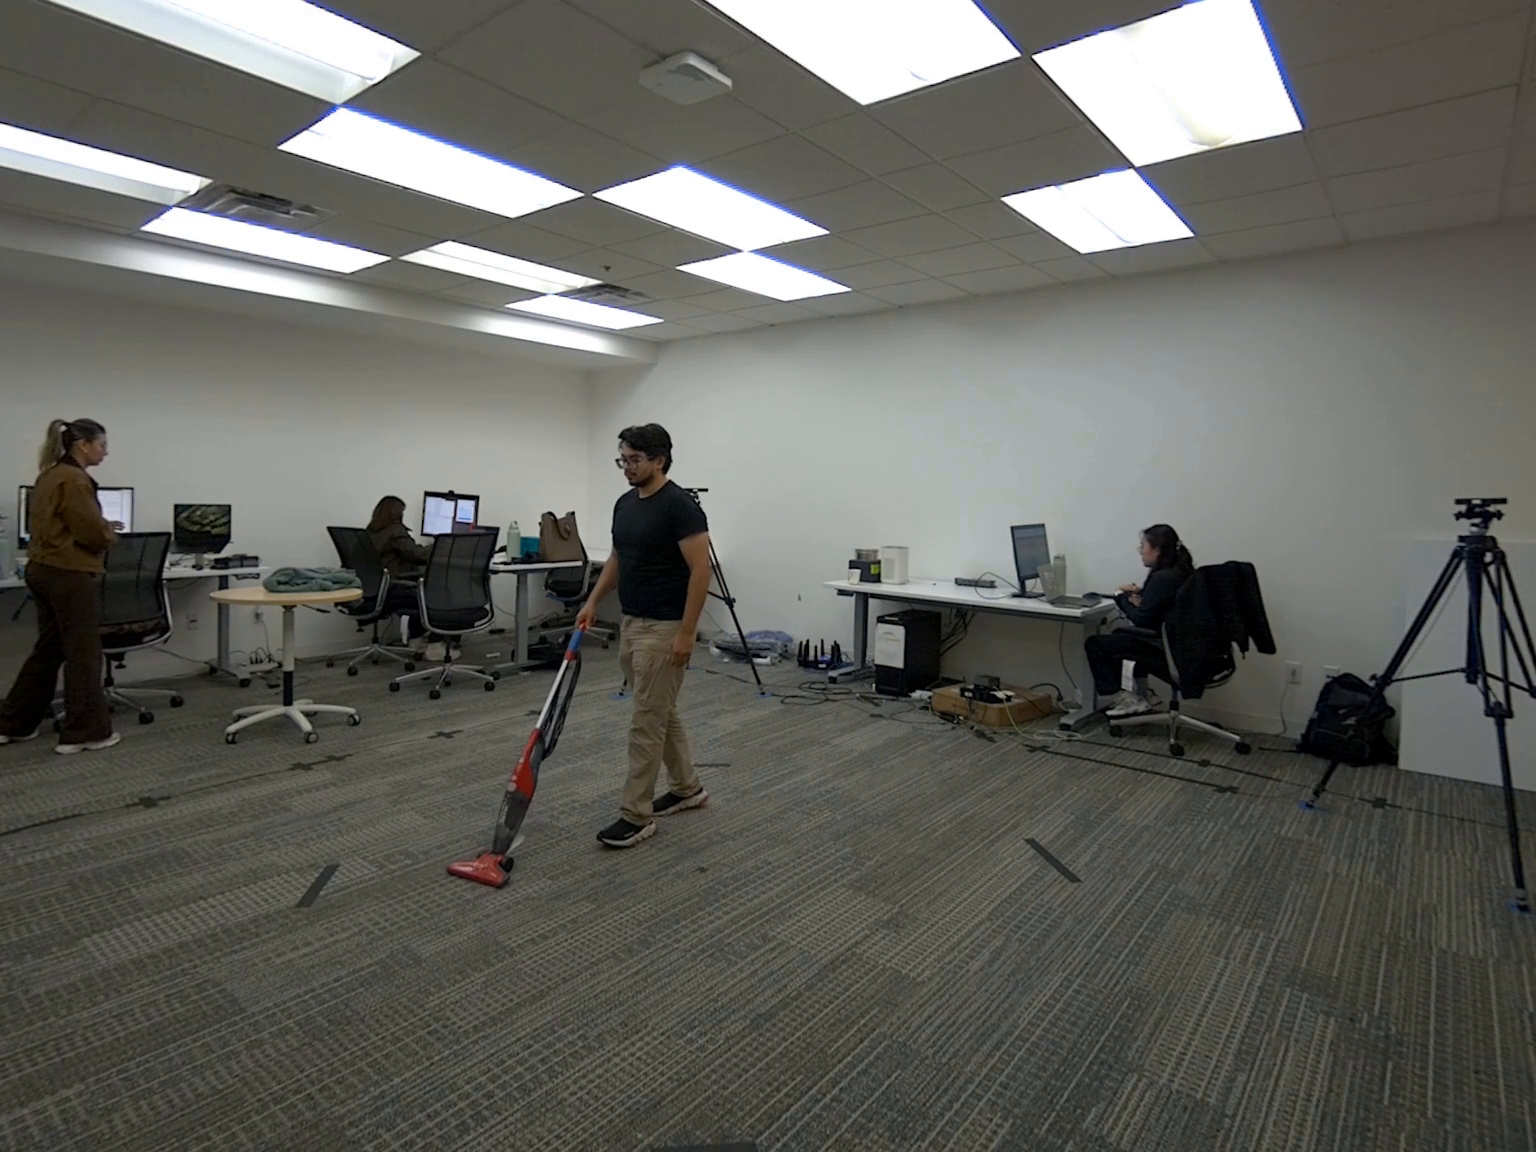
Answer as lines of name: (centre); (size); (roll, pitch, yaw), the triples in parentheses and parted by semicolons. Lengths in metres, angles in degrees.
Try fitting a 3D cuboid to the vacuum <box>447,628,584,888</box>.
vacuum: (-0.887, 0.625, 3.296); (0.259, 1.066, 0.138); (-1, -34, 27)
